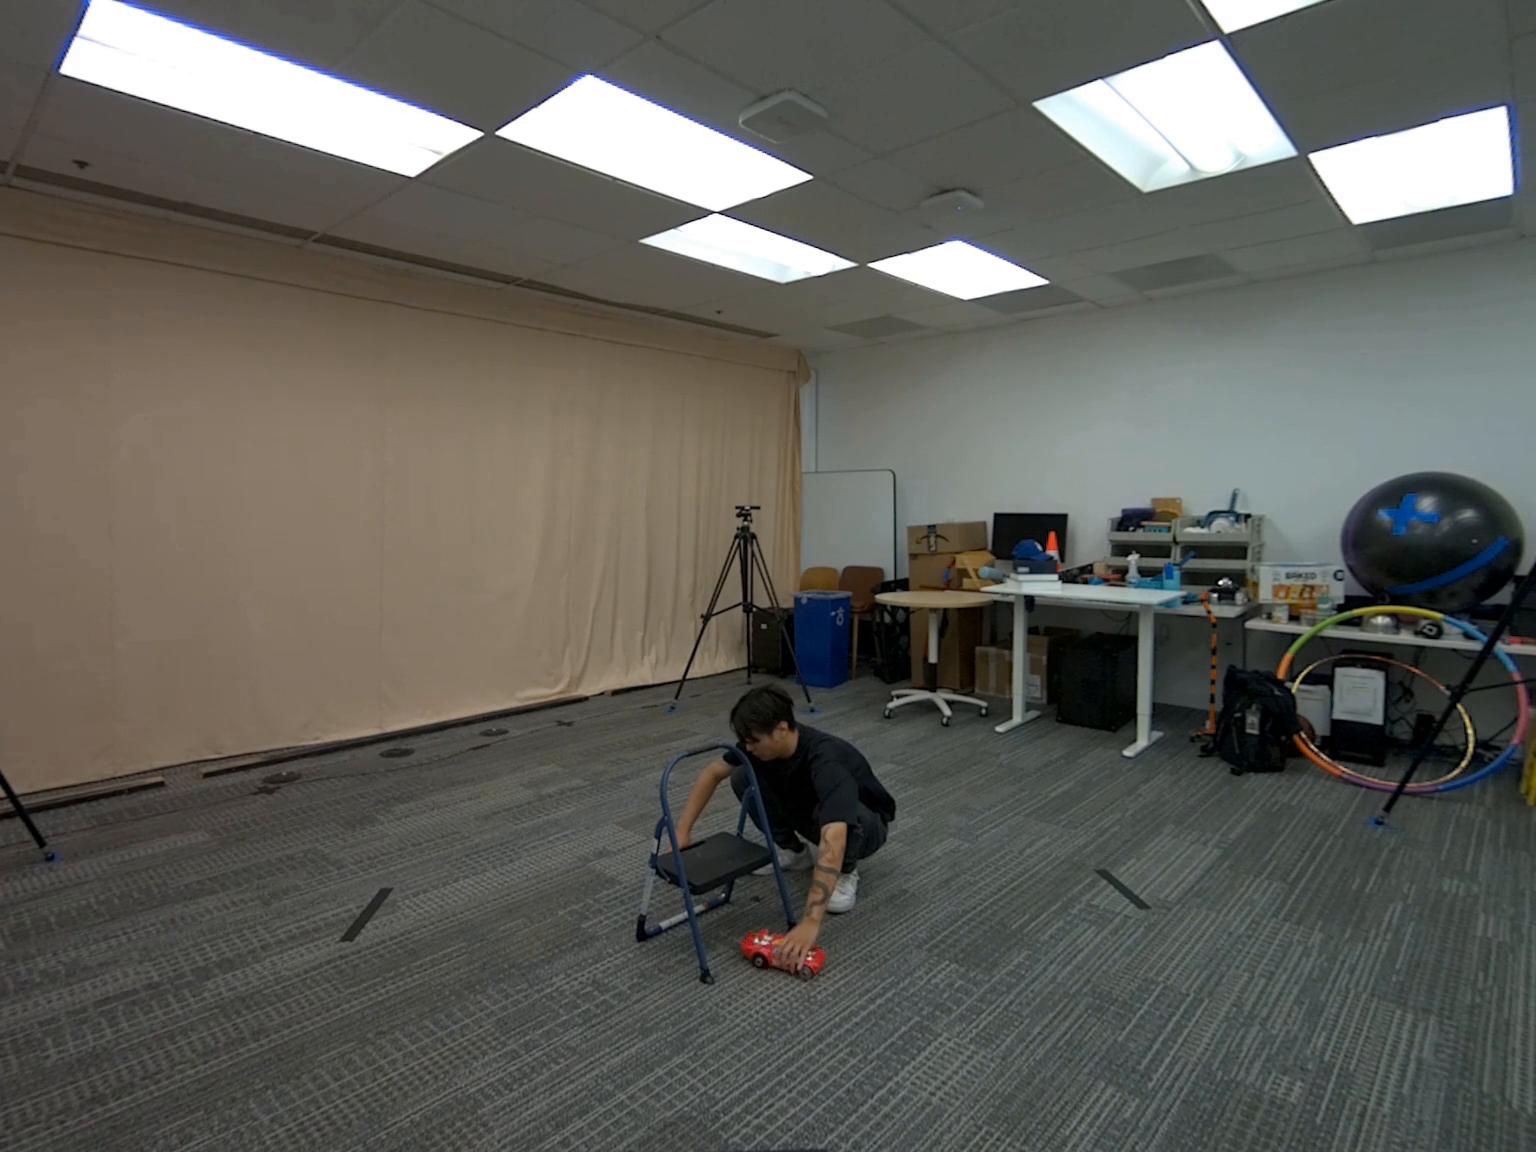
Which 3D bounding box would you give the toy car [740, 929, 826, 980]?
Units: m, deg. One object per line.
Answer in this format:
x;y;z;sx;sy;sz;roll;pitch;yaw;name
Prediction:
0.042;1.145;2.564;0.261;0.083;0.127;16;10;21;toy car
